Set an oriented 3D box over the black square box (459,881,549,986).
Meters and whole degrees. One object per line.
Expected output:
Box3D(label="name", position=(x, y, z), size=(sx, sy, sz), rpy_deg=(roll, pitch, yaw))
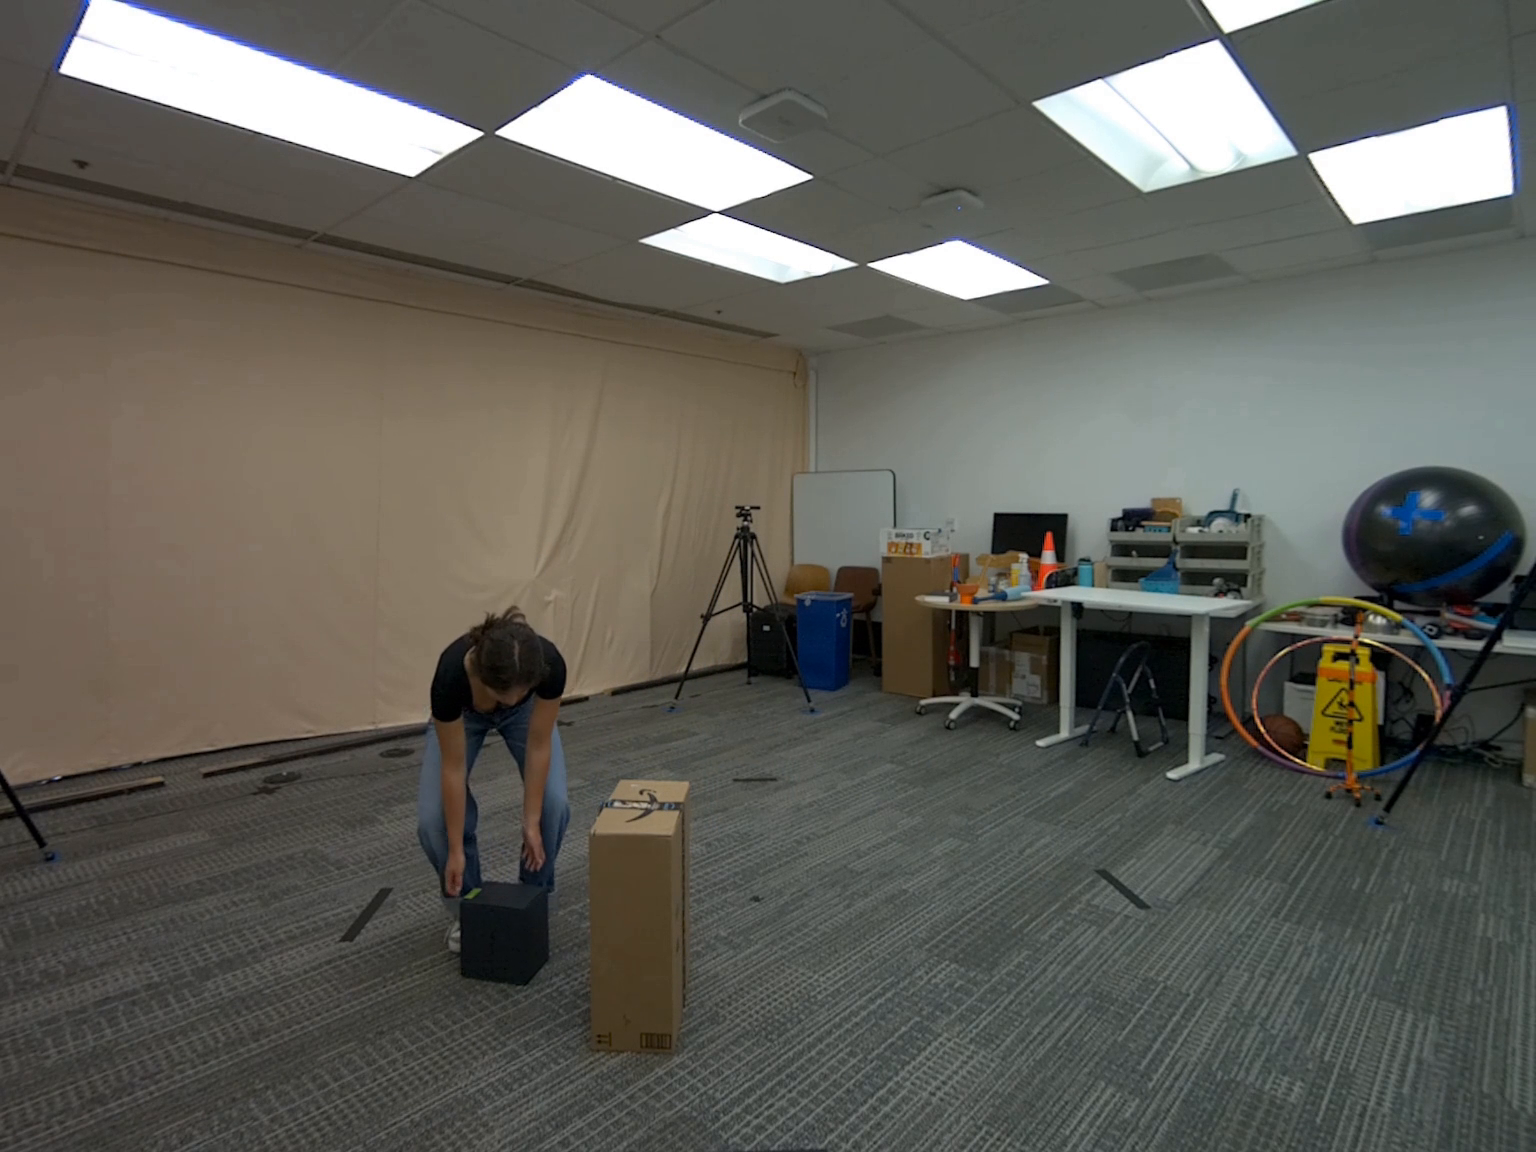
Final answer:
Box3D(label="black square box", position=(-0.793, 1.071, 2.541), size=(0.220, 0.227, 0.154), rpy_deg=(-1, 2, 13))
